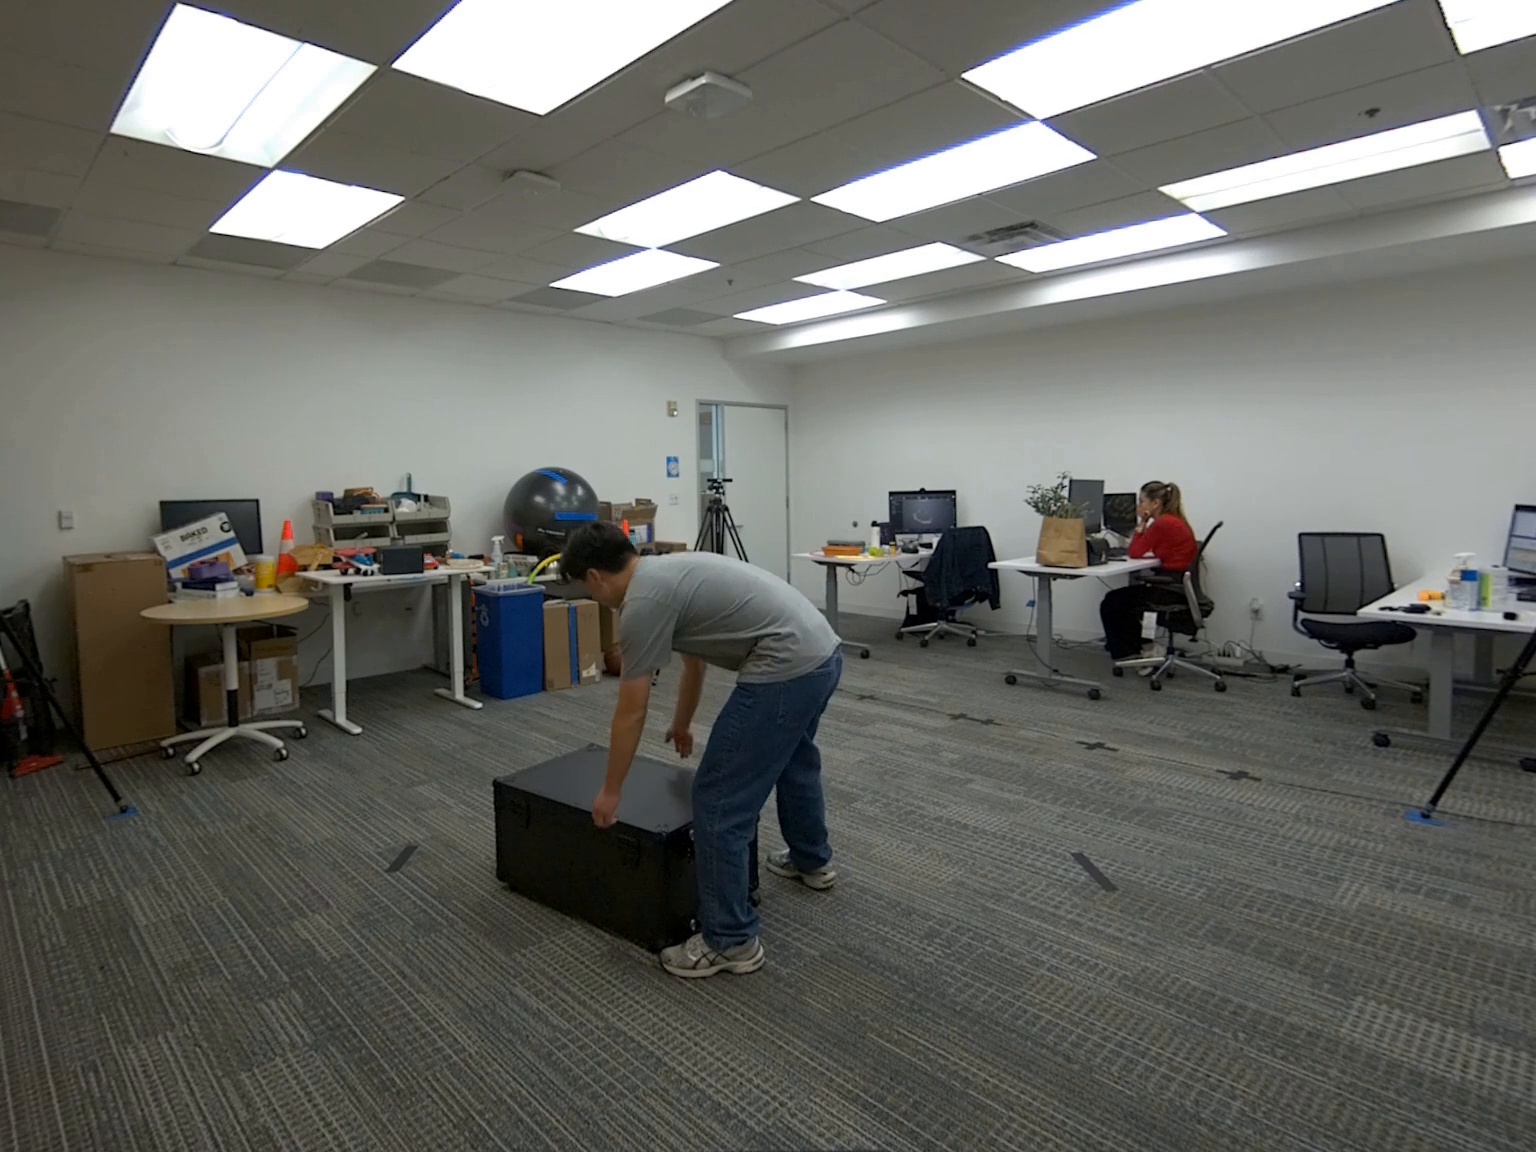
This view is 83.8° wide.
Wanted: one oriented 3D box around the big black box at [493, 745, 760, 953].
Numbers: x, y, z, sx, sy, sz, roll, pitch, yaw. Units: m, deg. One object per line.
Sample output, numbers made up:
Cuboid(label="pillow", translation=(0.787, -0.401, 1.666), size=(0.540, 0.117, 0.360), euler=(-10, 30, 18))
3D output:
Cuboid(label="big black box", translation=(-0.460, 0.889, 2.889), size=(0.887, 0.394, 0.509), euler=(4, 7, 36))
